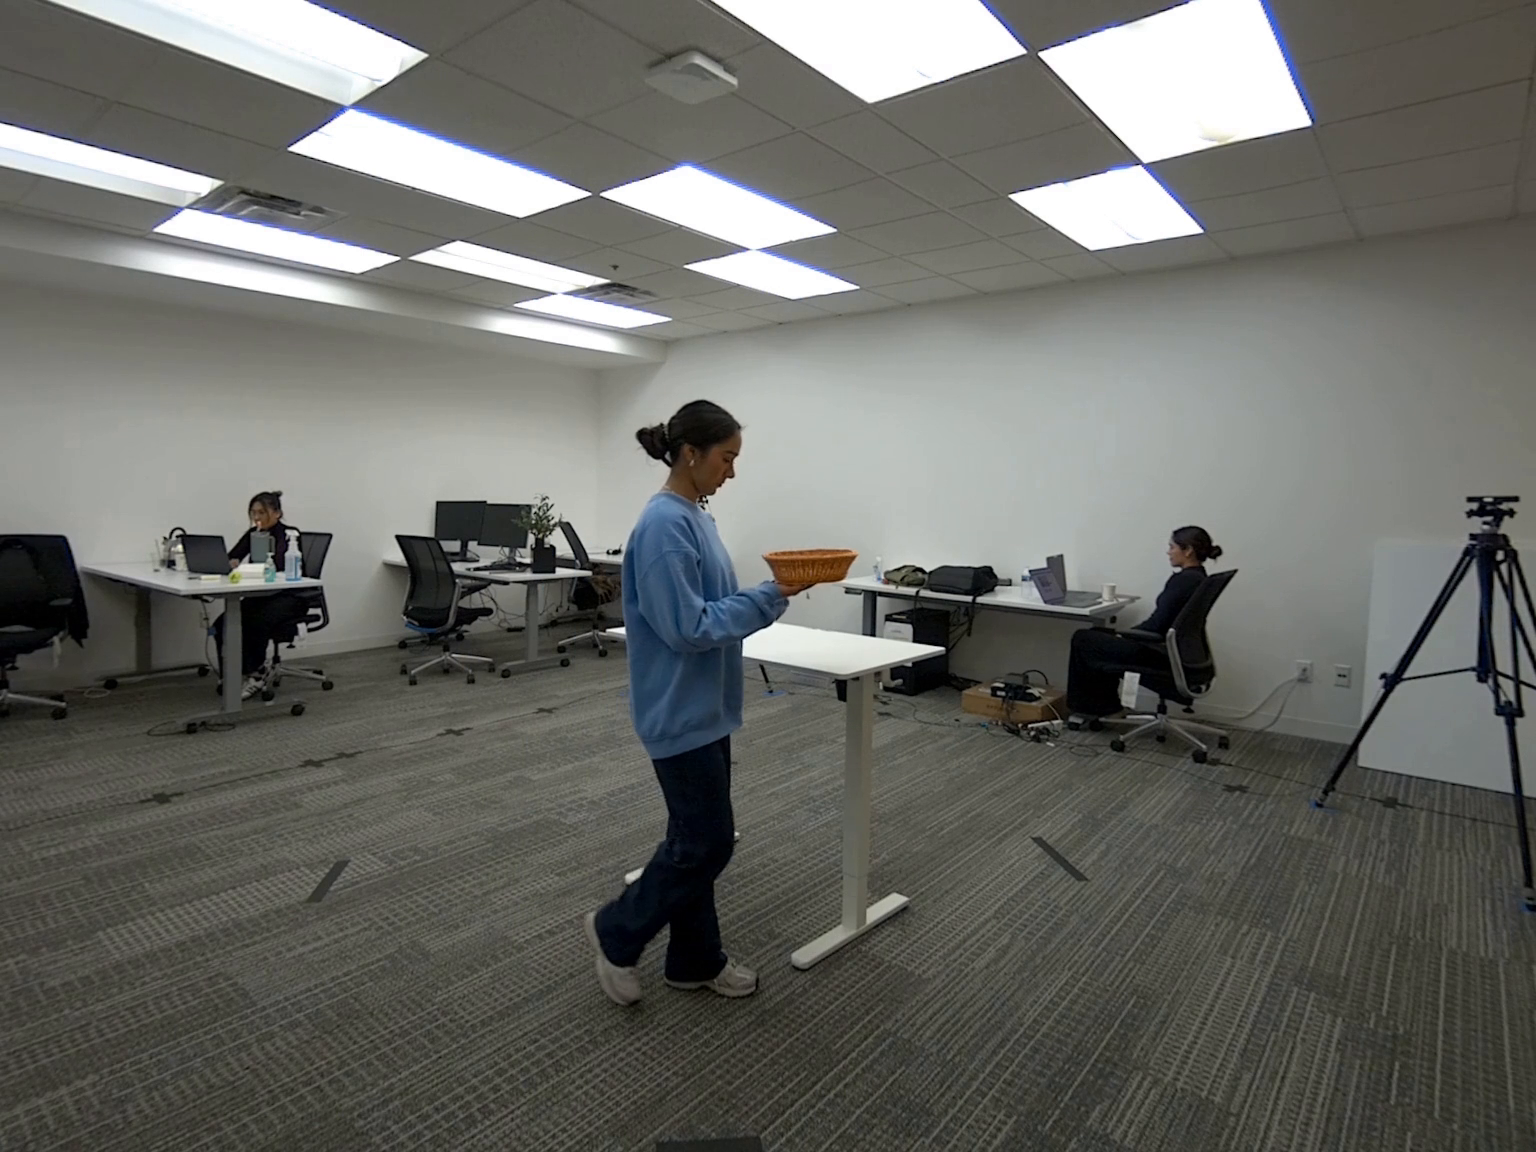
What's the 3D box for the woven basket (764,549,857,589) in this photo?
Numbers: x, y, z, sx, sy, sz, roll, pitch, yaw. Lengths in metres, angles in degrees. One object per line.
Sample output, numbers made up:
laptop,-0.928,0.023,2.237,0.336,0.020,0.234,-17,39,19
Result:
woven basket,0.087,-0.014,2.243,0.251,0.073,0.353,-3,5,-4
